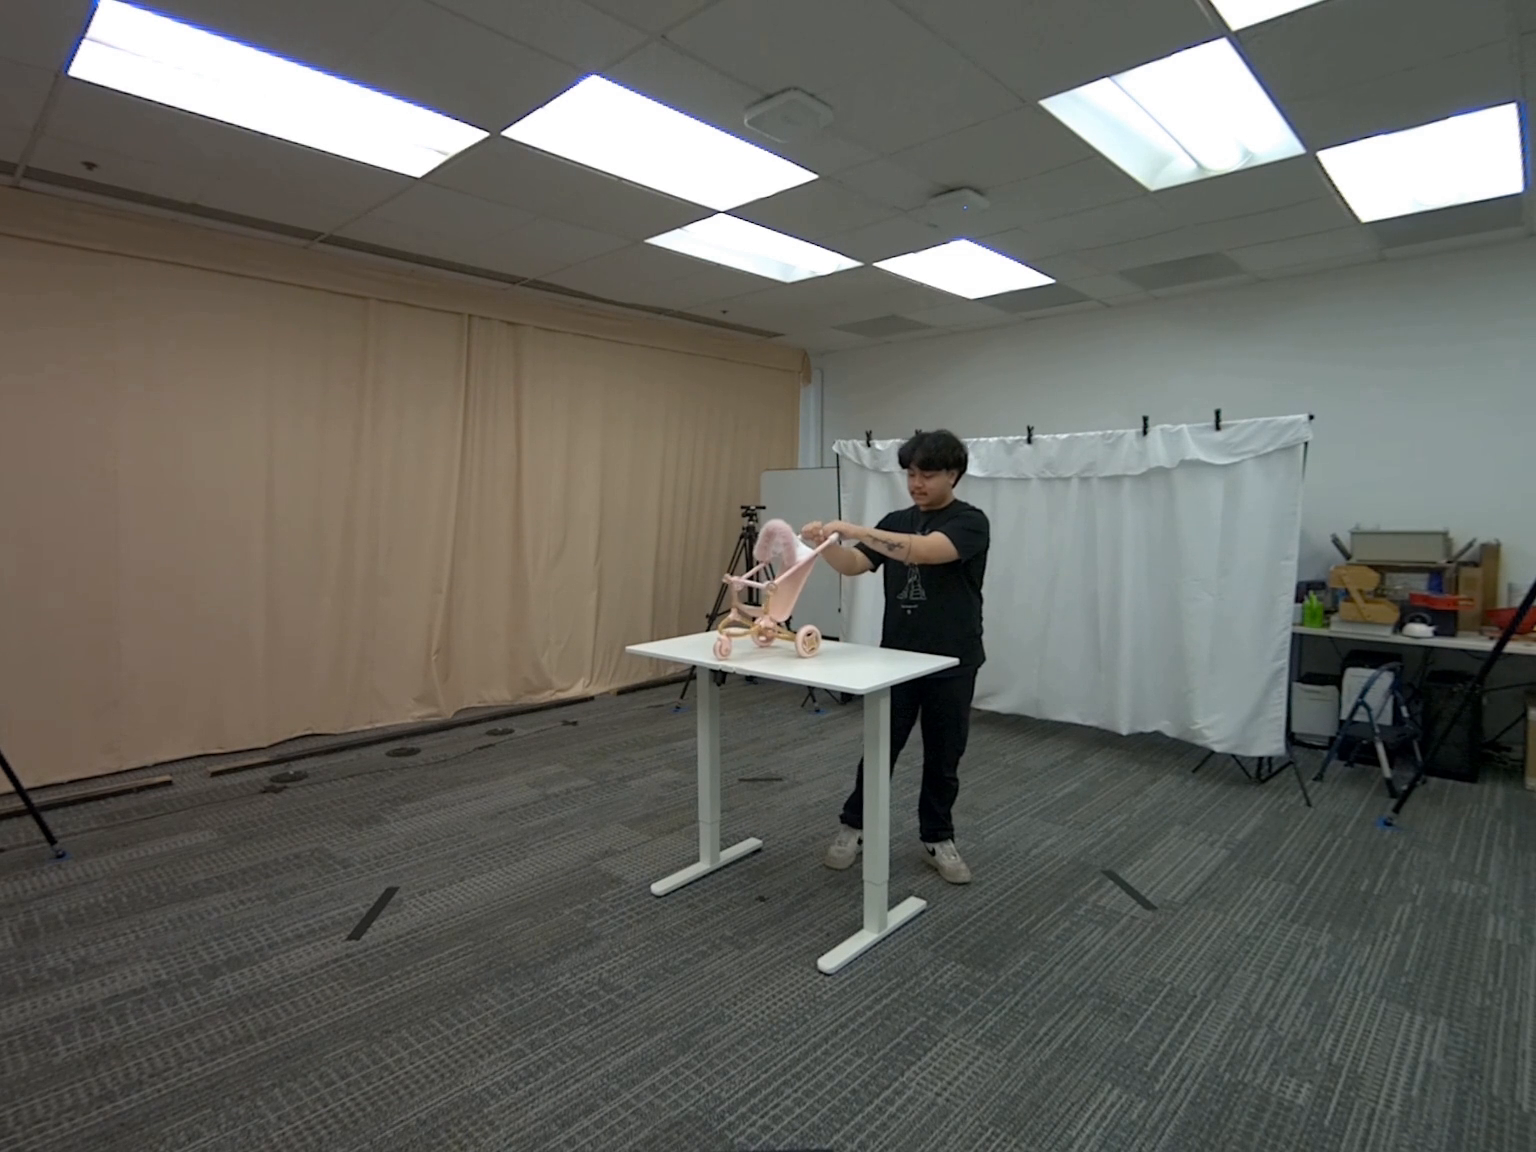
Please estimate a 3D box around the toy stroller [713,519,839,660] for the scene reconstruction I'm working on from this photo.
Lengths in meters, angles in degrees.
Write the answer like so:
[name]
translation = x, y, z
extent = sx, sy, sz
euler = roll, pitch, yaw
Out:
[toy stroller]
translation = 0.020, 0.044, 2.885
extent = 0.331, 0.536, 0.290
euler = 17, -5, -29
